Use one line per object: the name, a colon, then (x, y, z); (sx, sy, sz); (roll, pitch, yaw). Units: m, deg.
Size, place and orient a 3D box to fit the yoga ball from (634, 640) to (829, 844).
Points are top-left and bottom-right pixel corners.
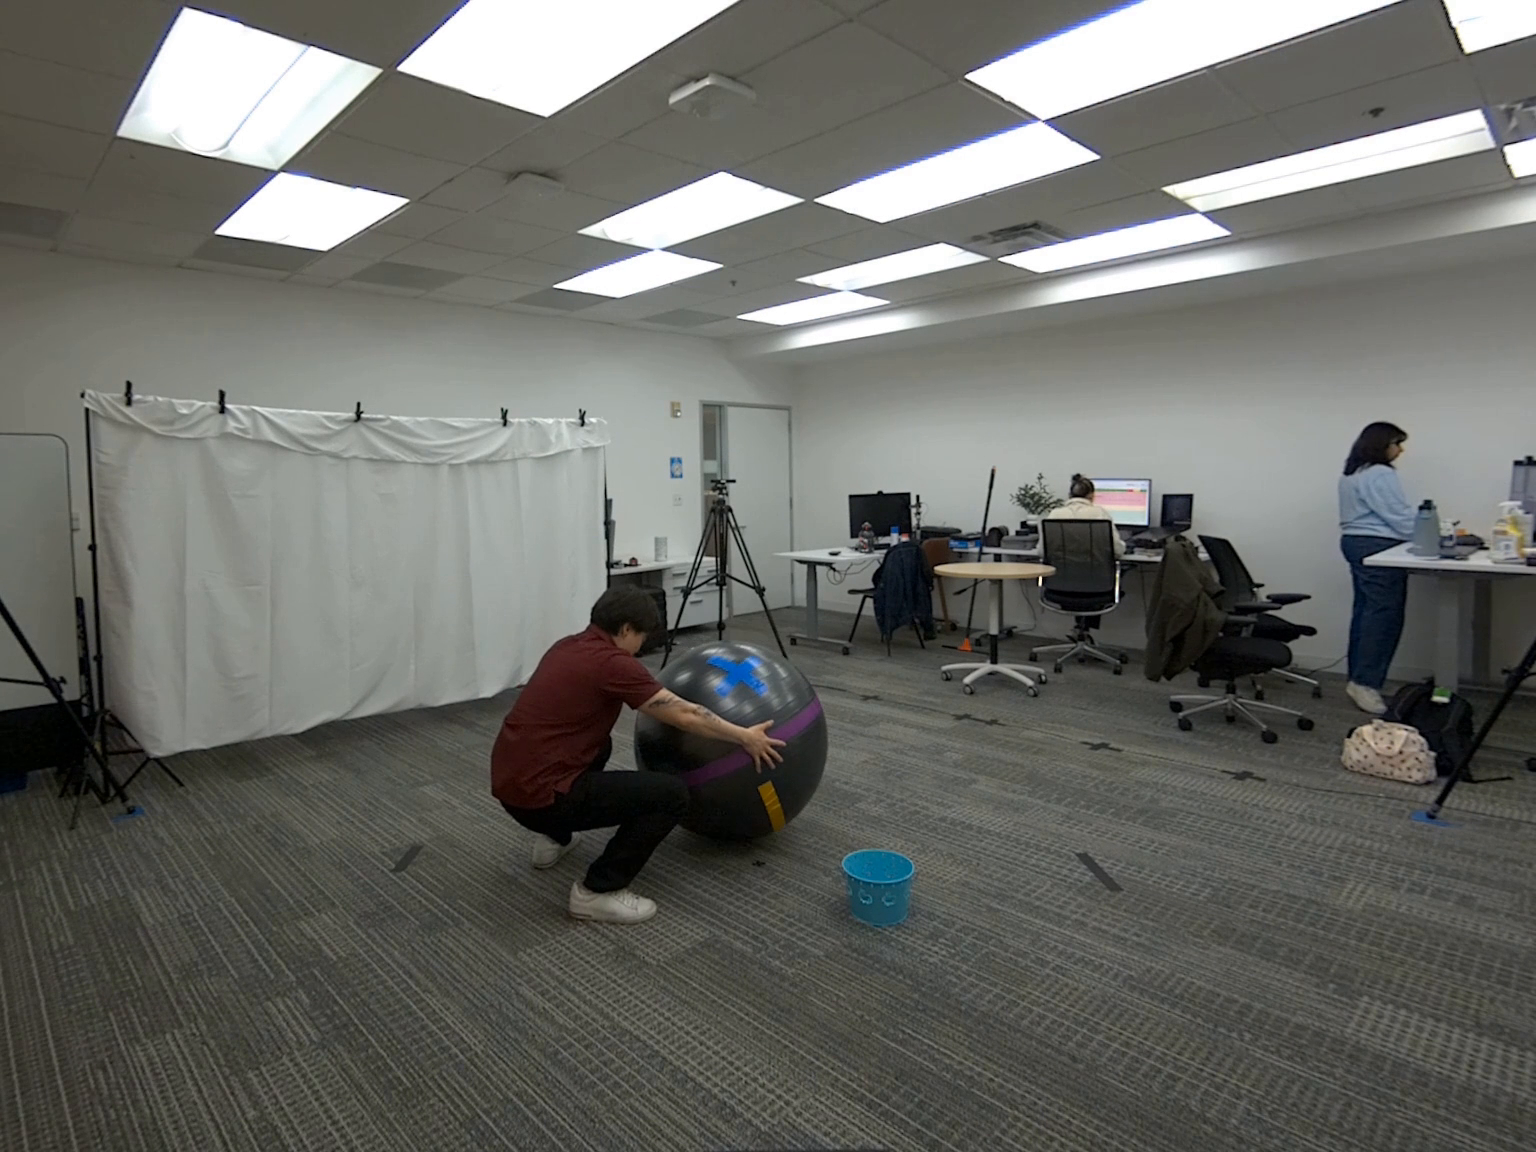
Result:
yoga ball: (-0.152, 0.643, 3.352); (0.757, 0.755, 0.762); (-1, 5, -2)
